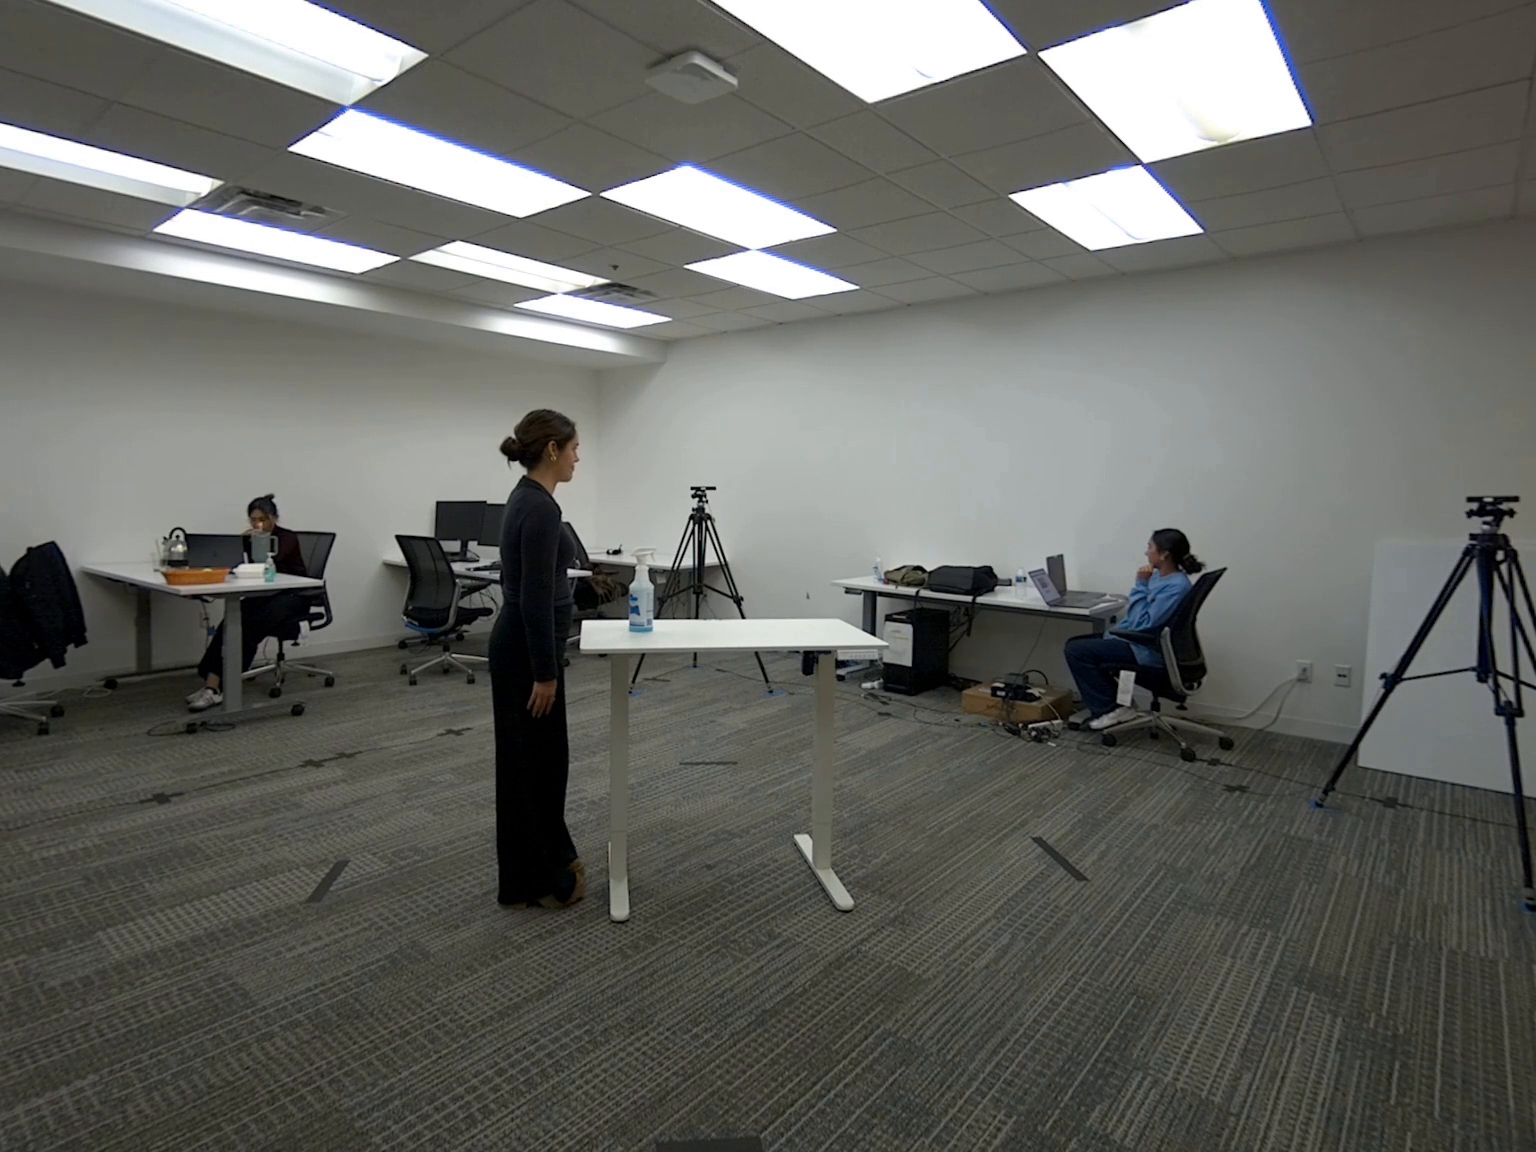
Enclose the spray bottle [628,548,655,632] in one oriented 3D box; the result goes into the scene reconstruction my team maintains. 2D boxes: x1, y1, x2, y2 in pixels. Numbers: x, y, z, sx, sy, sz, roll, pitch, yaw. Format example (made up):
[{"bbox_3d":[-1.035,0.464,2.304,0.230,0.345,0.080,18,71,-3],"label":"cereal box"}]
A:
[{"bbox_3d":[-0.462,0.048,2.997,0.091,0.297,0.086,2,2,11],"label":"spray bottle"}]
